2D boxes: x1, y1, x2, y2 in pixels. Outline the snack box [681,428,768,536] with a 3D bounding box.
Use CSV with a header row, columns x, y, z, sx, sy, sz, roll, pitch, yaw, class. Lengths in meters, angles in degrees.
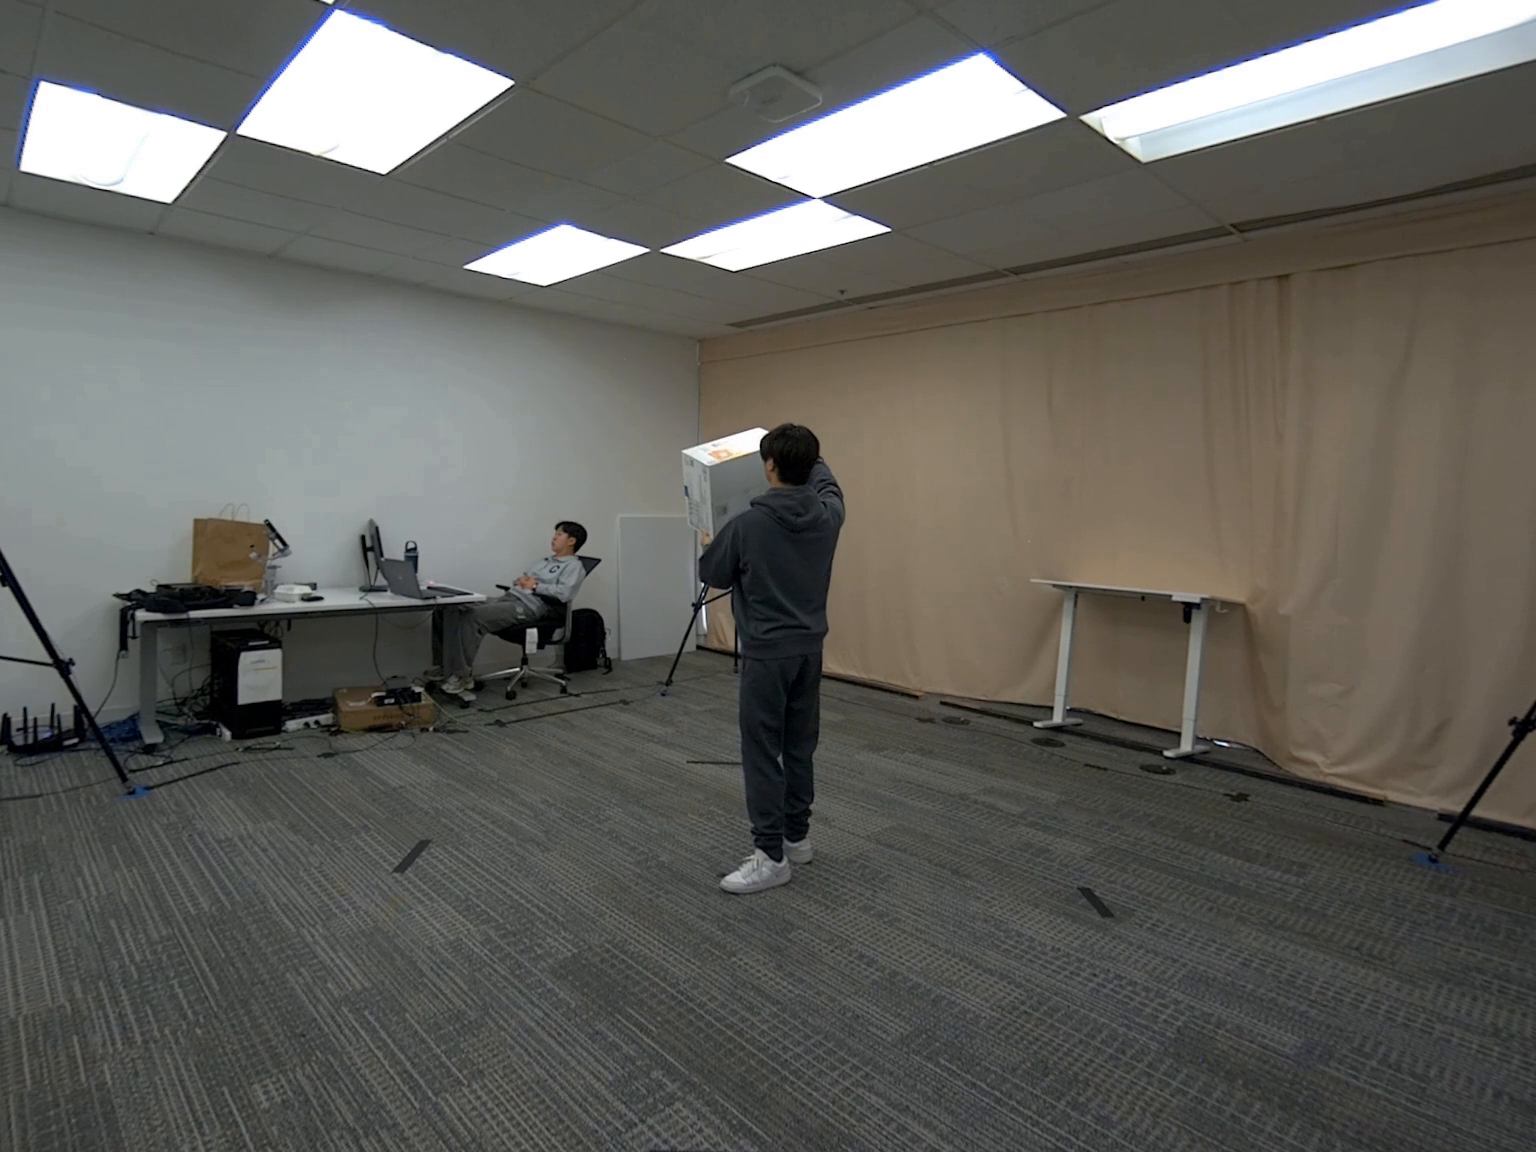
x,y,z,sx,sy,sz,roll,pitch,yaw,class
-0.134,-0.386,3.537,0.400,0.334,0.212,-21,34,-30,snack box
